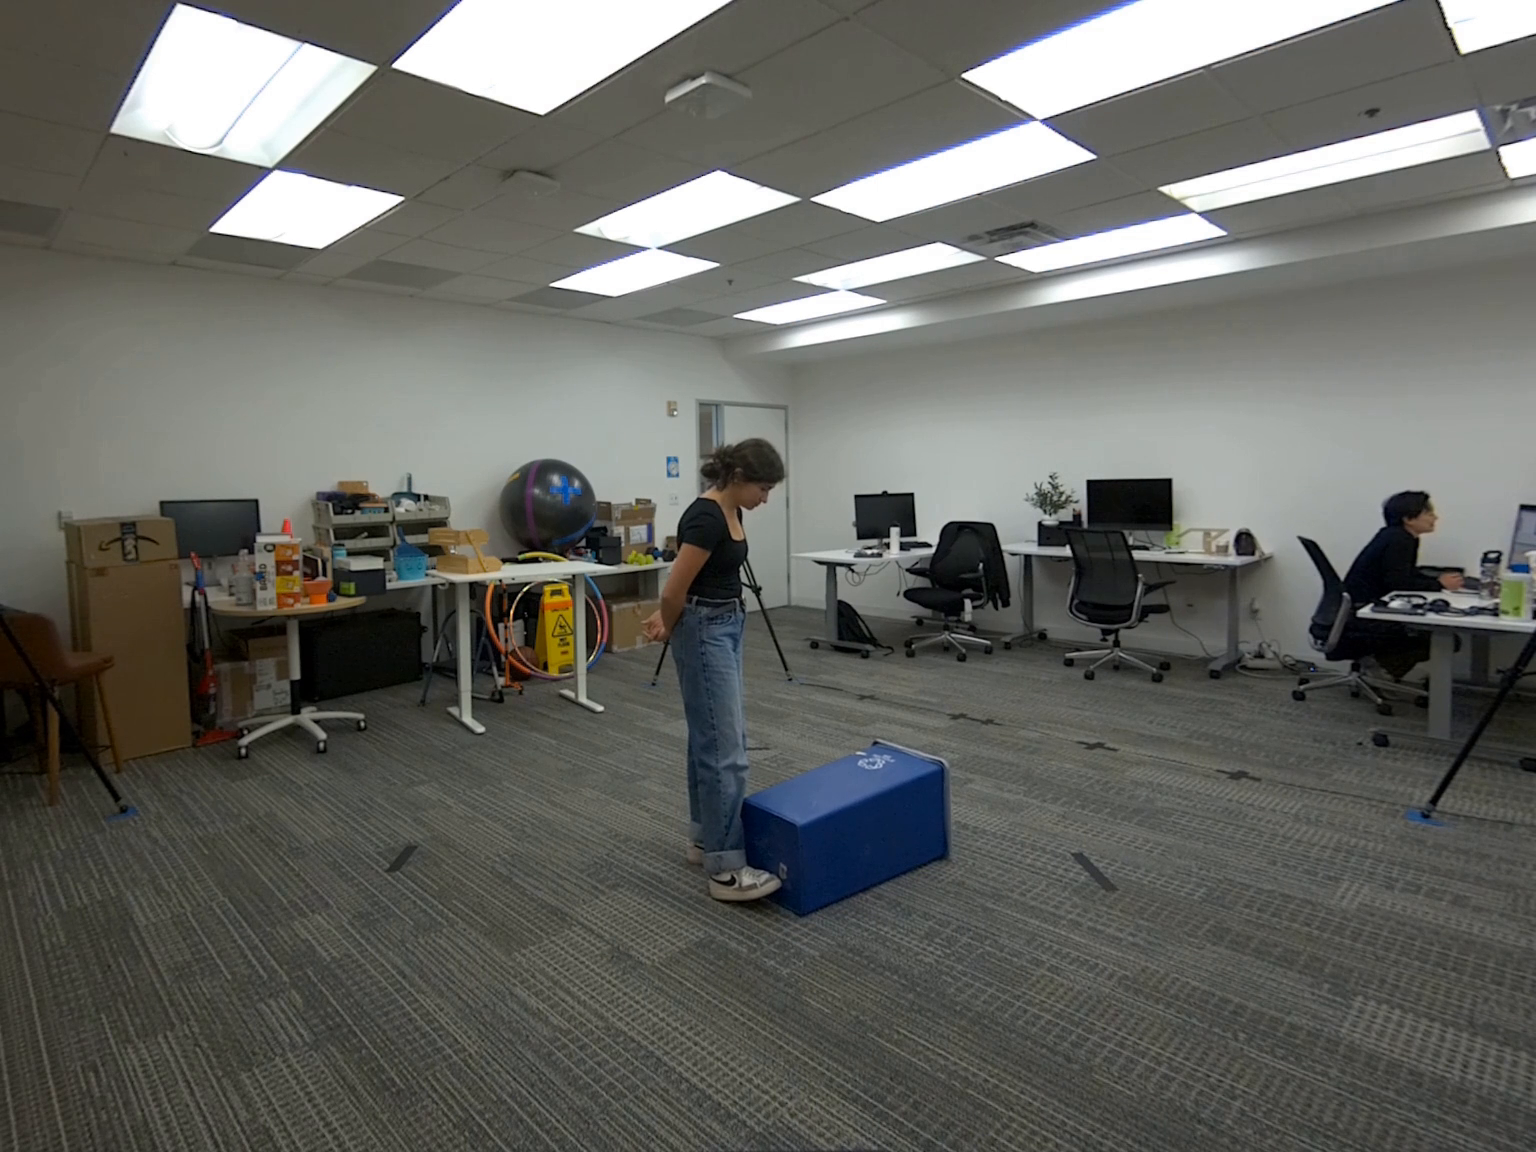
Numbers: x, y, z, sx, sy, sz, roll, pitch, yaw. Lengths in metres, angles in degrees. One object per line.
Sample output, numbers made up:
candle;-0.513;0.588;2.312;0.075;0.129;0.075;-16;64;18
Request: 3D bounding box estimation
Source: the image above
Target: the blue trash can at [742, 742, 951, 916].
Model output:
blue trash can;0.284;0.883;3.025;0.696;0.376;0.385;-10;9;-39
